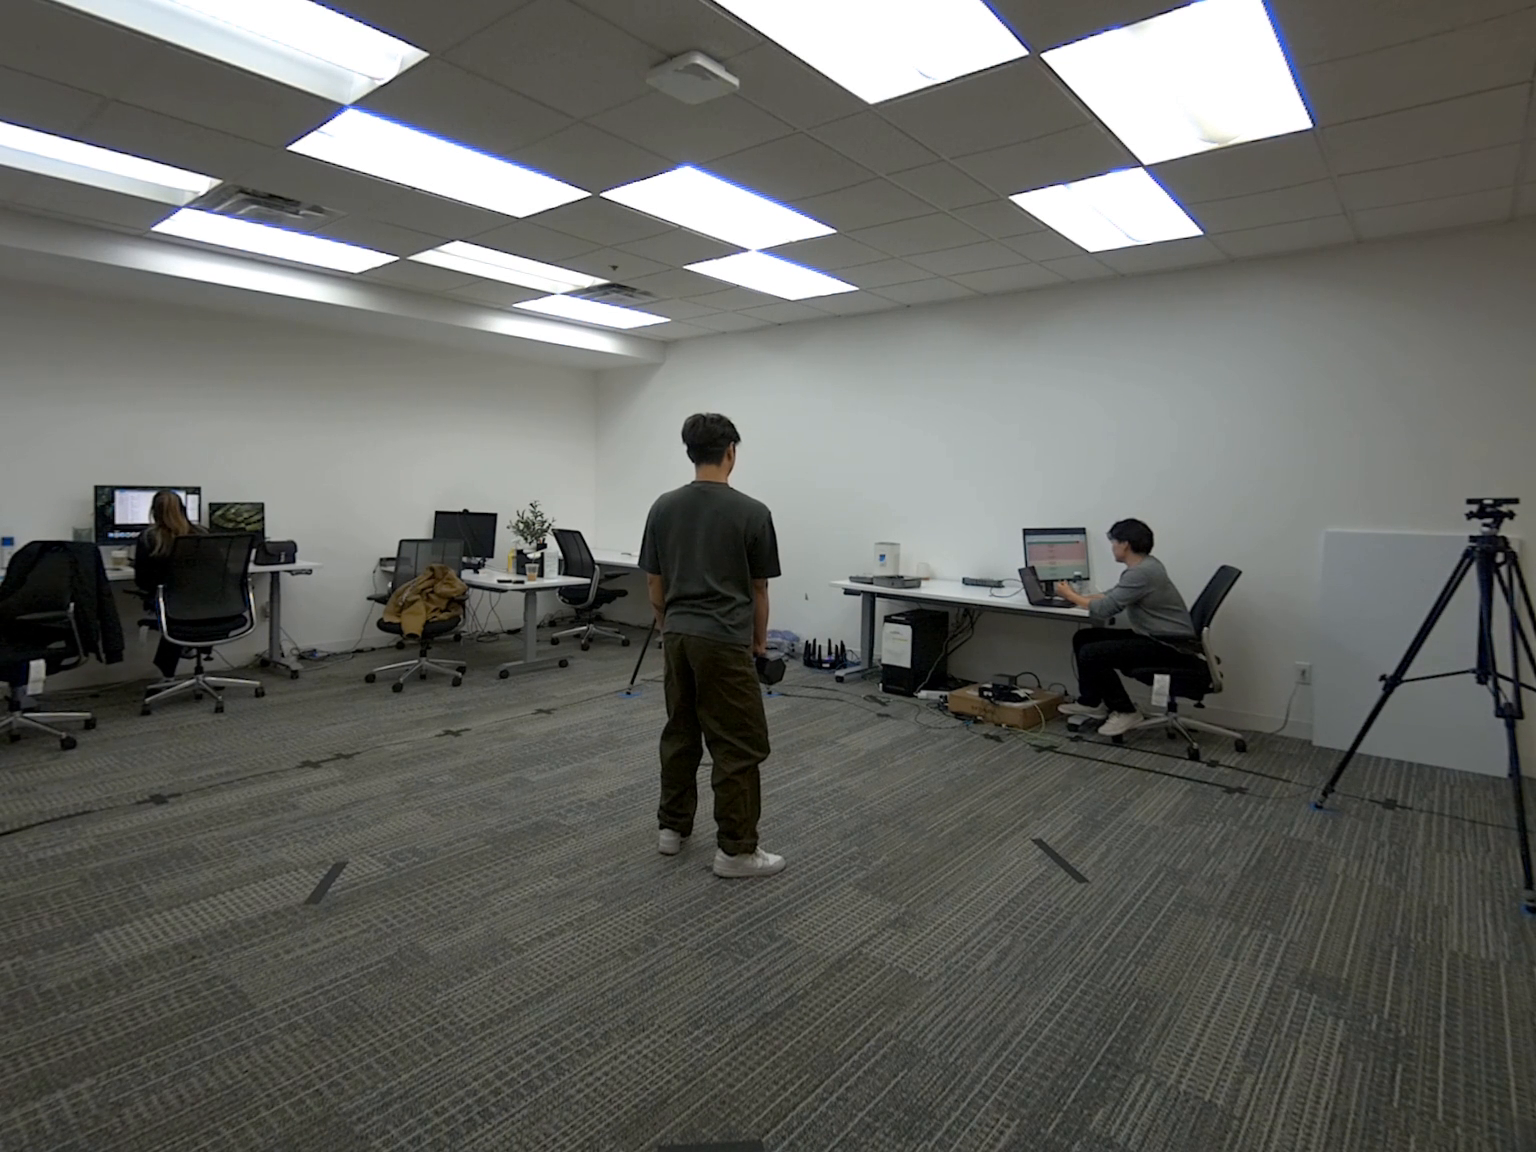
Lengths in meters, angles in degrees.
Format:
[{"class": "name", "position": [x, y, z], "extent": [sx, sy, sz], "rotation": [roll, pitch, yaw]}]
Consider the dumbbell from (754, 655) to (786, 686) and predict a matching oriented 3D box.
[{"class": "dumbbell", "position": [-0.081, 0.341, 3.287], "extent": [0.304, 0.124, 0.104], "rotation": [9, -14, 46]}]
